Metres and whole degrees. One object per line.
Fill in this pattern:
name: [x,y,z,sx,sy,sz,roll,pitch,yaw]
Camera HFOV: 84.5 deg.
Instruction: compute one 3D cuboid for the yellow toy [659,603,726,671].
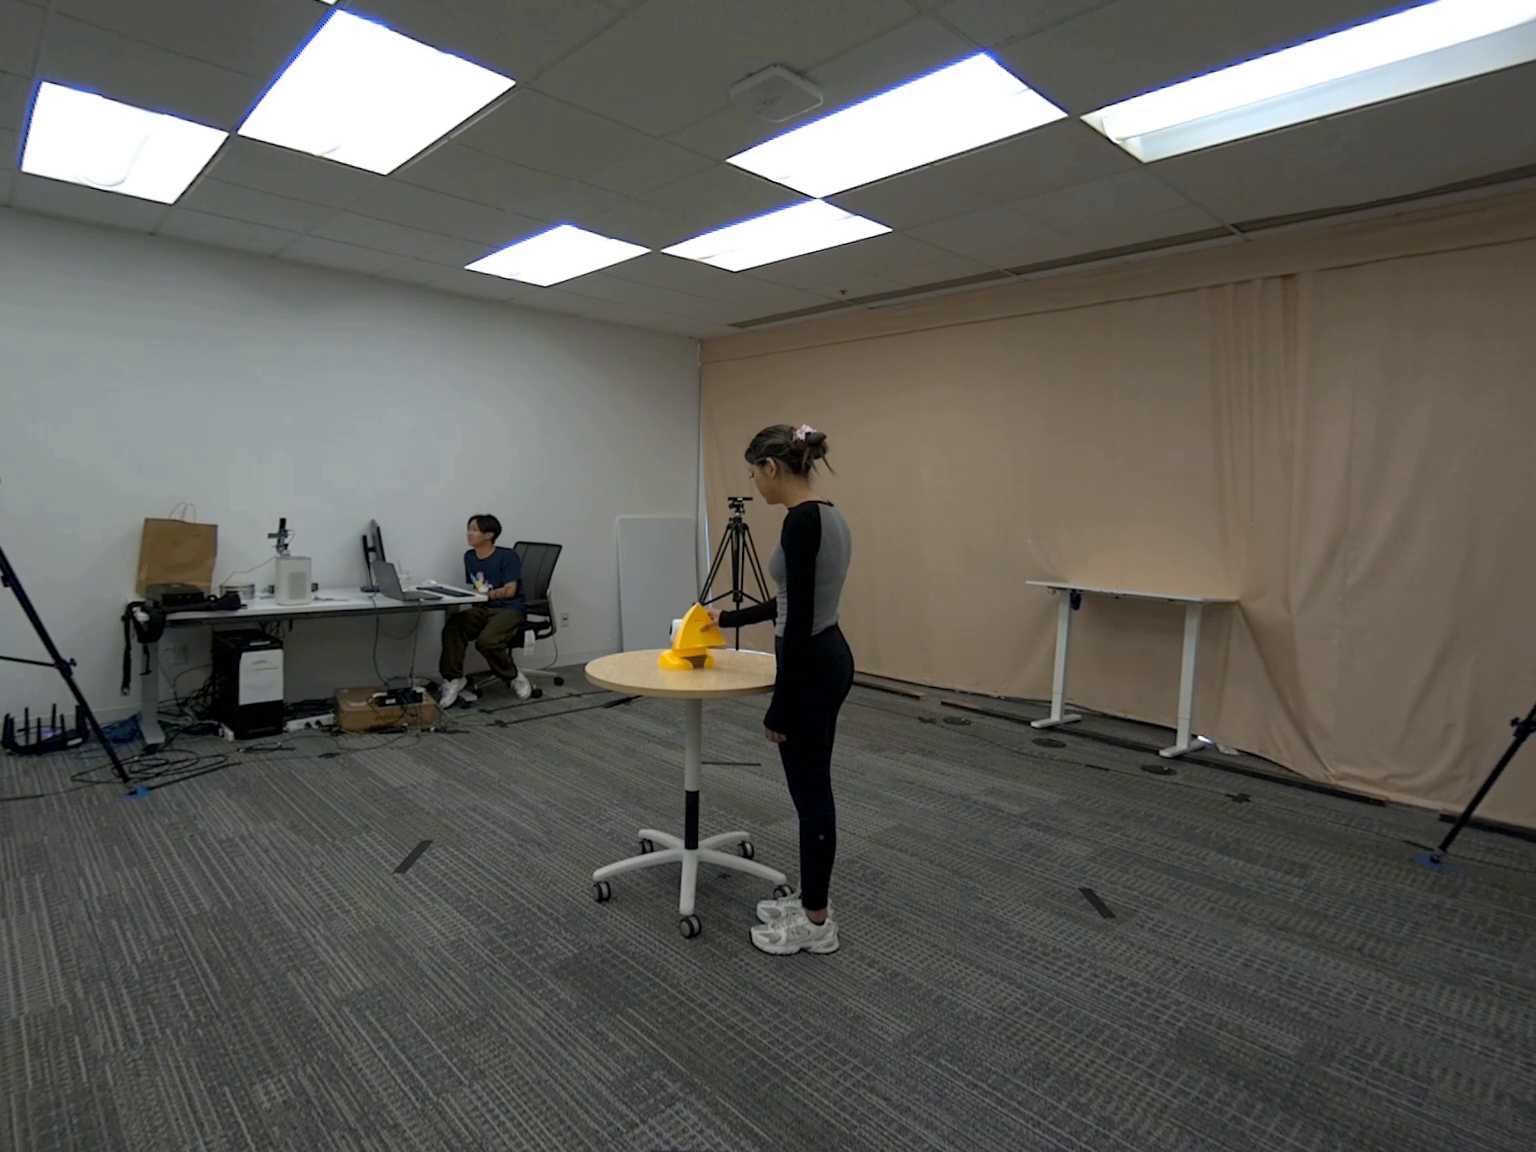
yellow toy: [-0.295,0.205,3.008,0.200,0.230,0.198,-2,4,-38]
